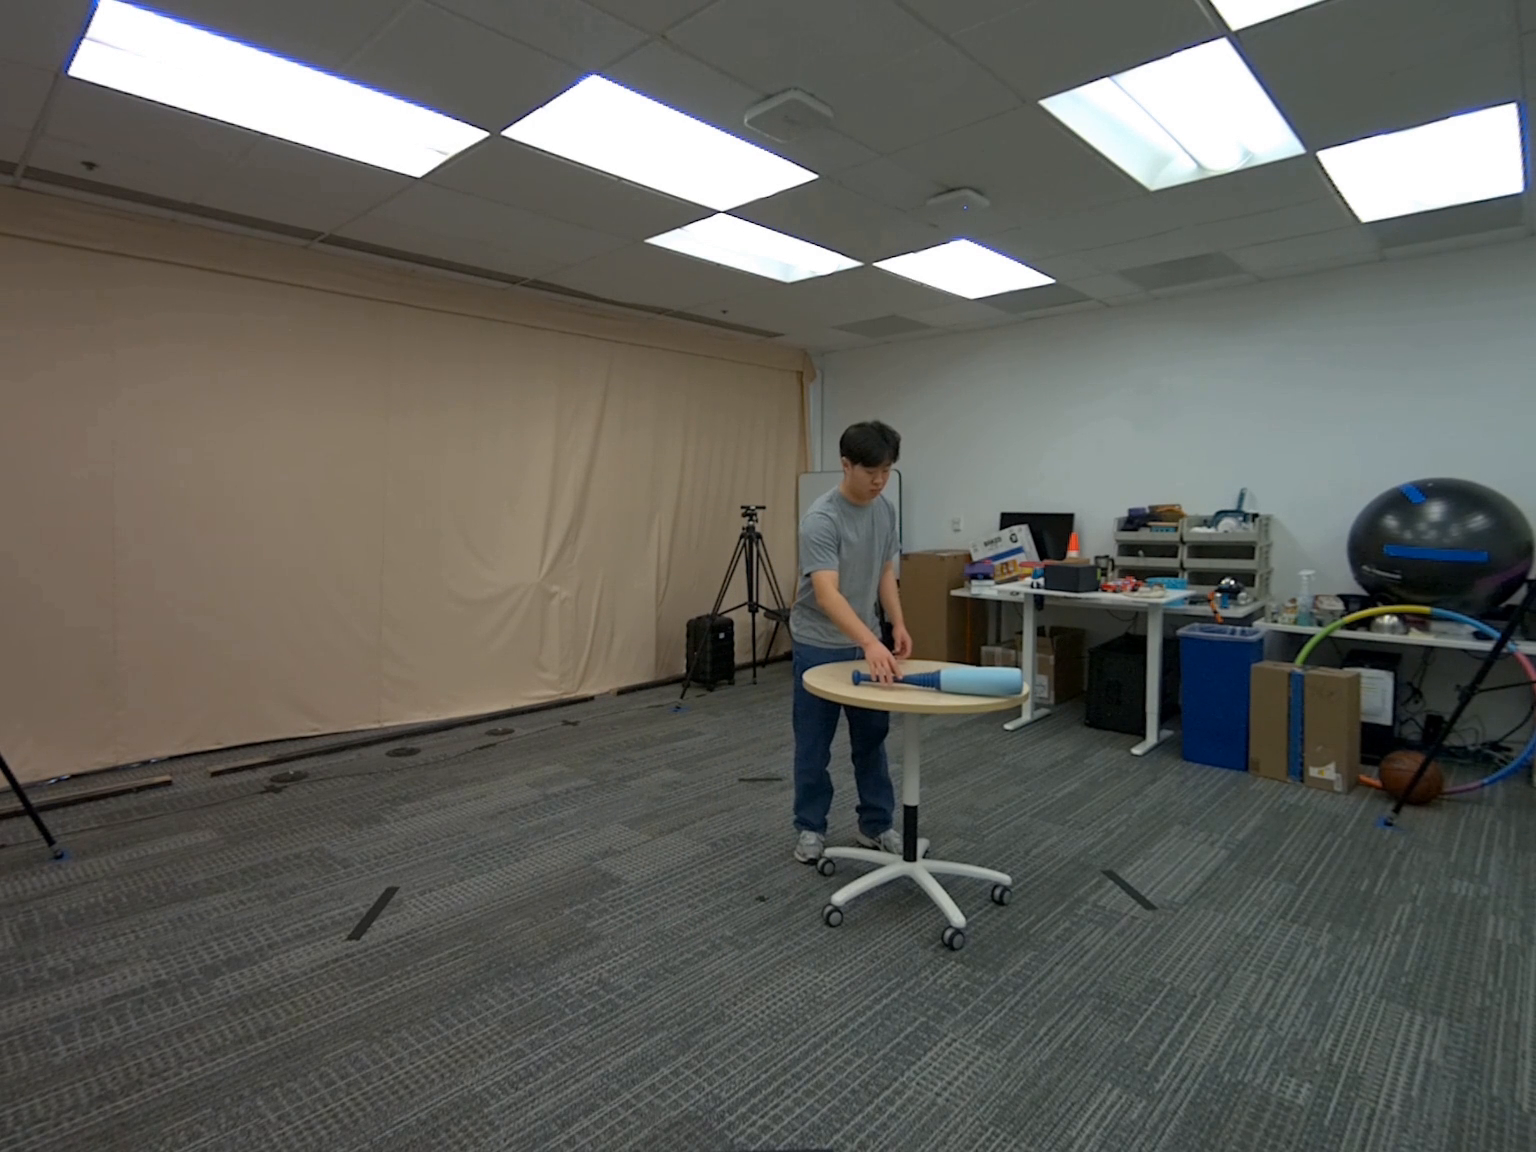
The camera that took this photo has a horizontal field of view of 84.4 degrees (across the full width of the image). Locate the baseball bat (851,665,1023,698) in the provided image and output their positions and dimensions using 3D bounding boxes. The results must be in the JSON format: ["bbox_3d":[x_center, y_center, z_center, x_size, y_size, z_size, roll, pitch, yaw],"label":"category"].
[{"bbox_3d":[0.554,0.346,2.749,0.554,0.089,0.087,-2,3,19],"label":"baseball bat"}]
